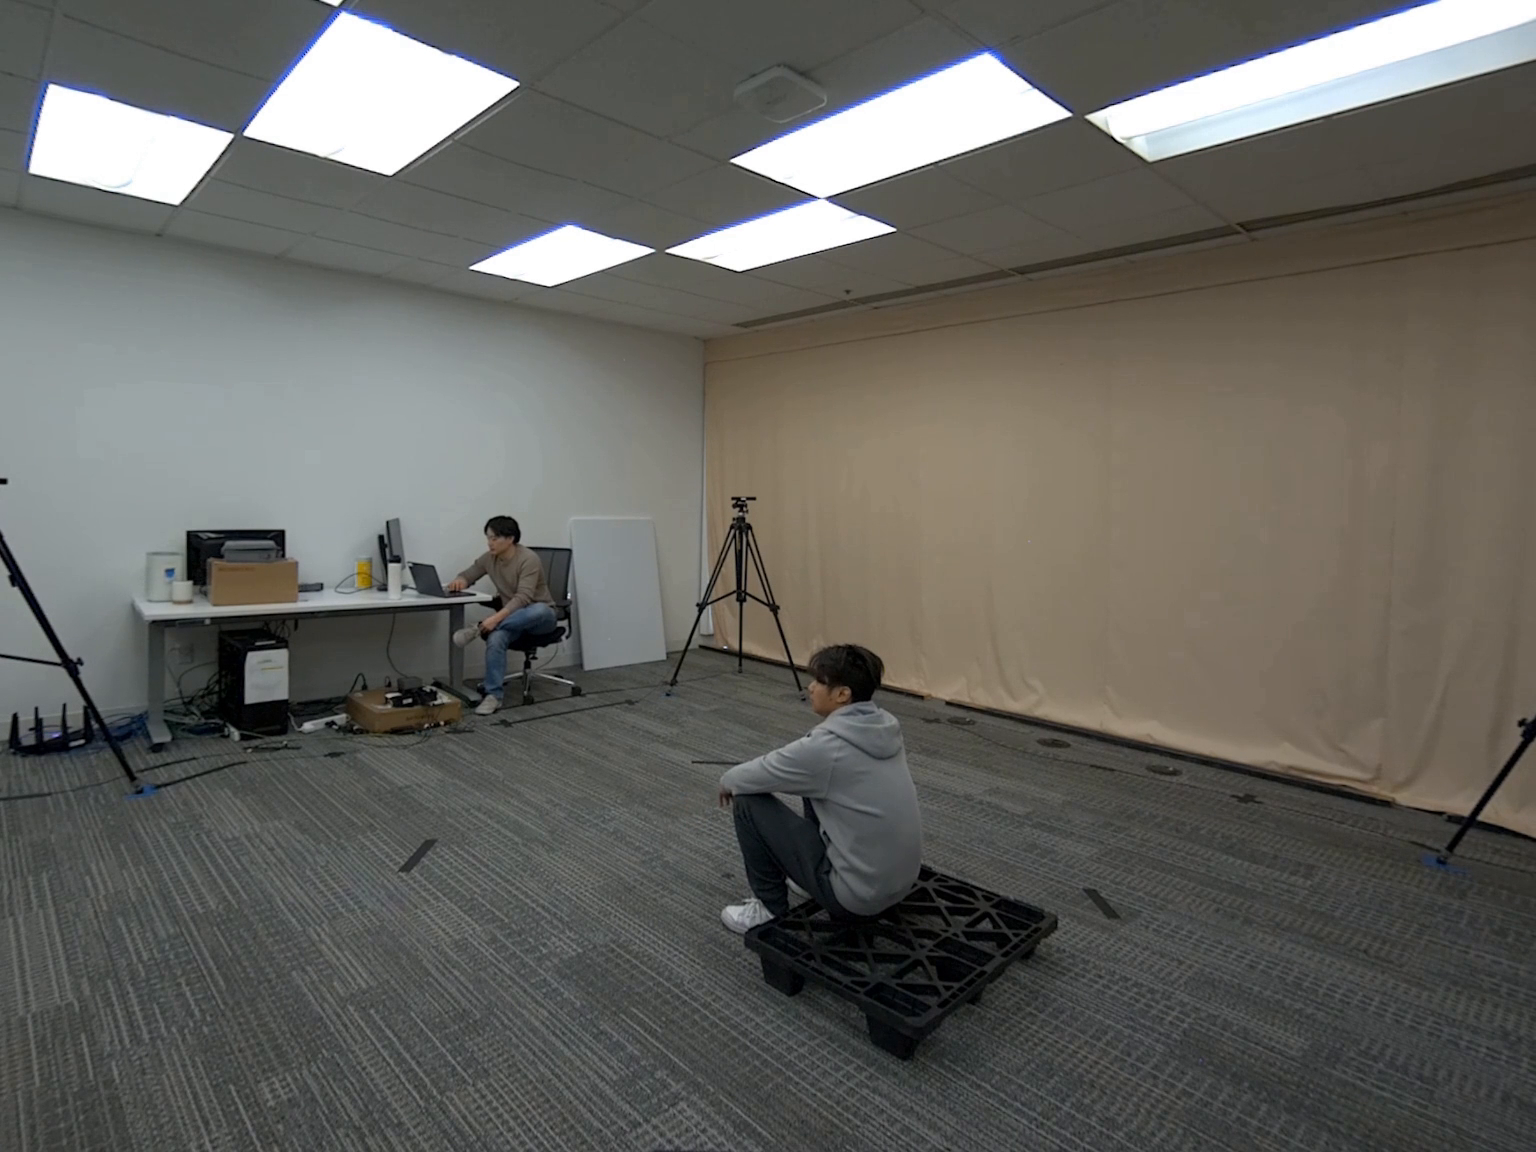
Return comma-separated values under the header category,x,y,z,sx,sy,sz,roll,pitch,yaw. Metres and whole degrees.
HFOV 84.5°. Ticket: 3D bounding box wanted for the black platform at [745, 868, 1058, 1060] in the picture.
category,x,y,z,sx,sy,sz,roll,pitch,yaw
black platform,0.401,1.110,2.516,0.620,0.143,0.787,6,7,43
